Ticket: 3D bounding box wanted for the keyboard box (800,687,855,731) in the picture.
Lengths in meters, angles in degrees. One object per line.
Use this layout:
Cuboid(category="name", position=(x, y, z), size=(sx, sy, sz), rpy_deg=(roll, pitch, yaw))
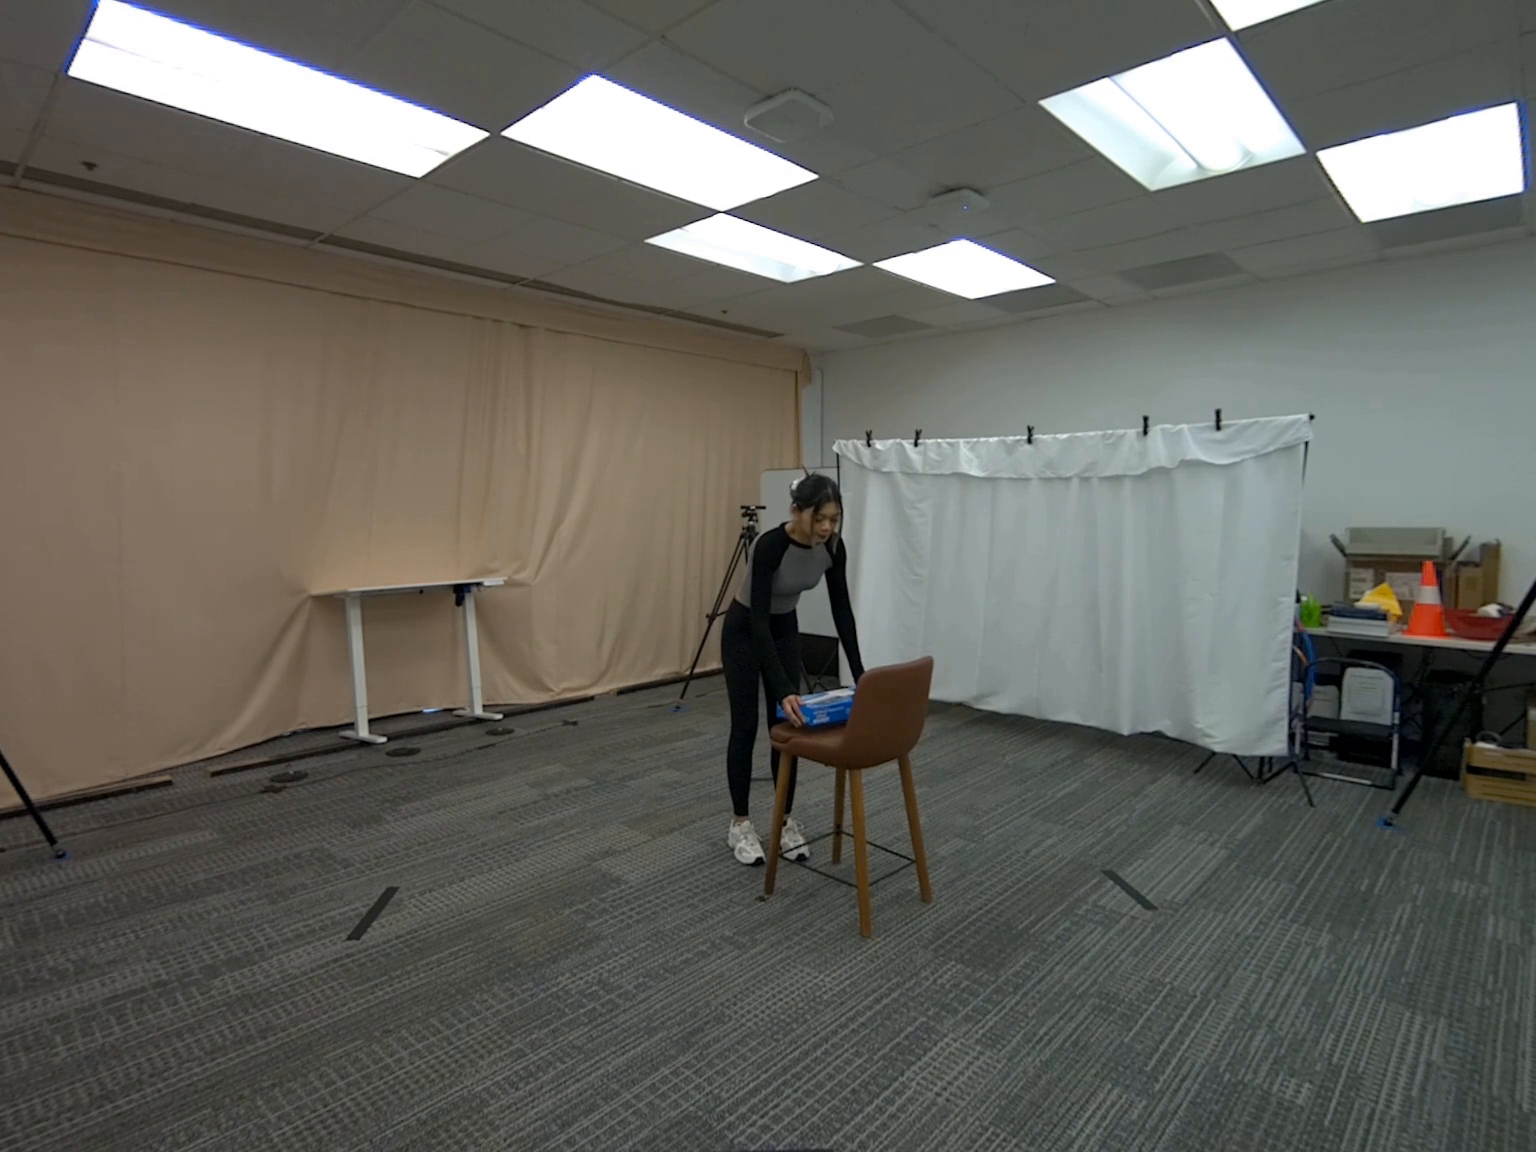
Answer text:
Cuboid(category="keyboard box", position=(0.253, 0.458, 3.034), size=(0.423, 0.059, 0.182), rpy_deg=(-2, 4, -40))
